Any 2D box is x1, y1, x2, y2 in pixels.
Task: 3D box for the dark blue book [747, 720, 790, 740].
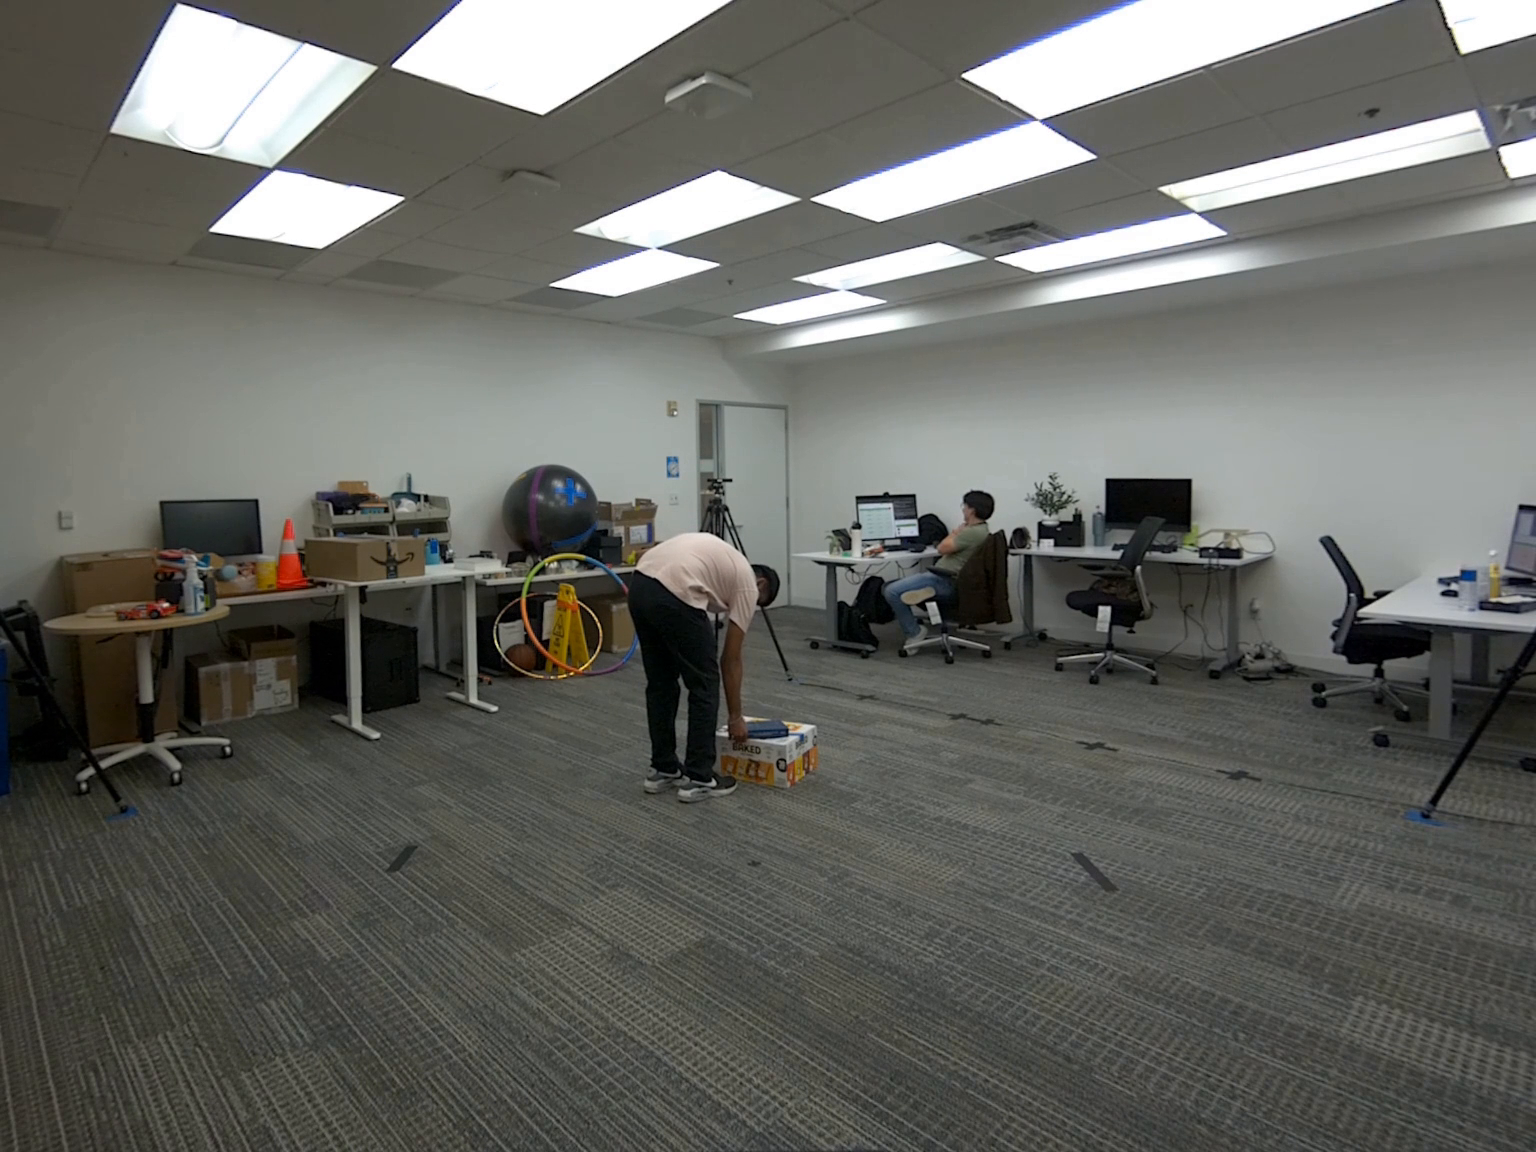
[{"bbox_3d":[-0.037,0.724,4.037,0.242,0.045,0.165,-2,4,-12],"label":"dark blue book"}]
